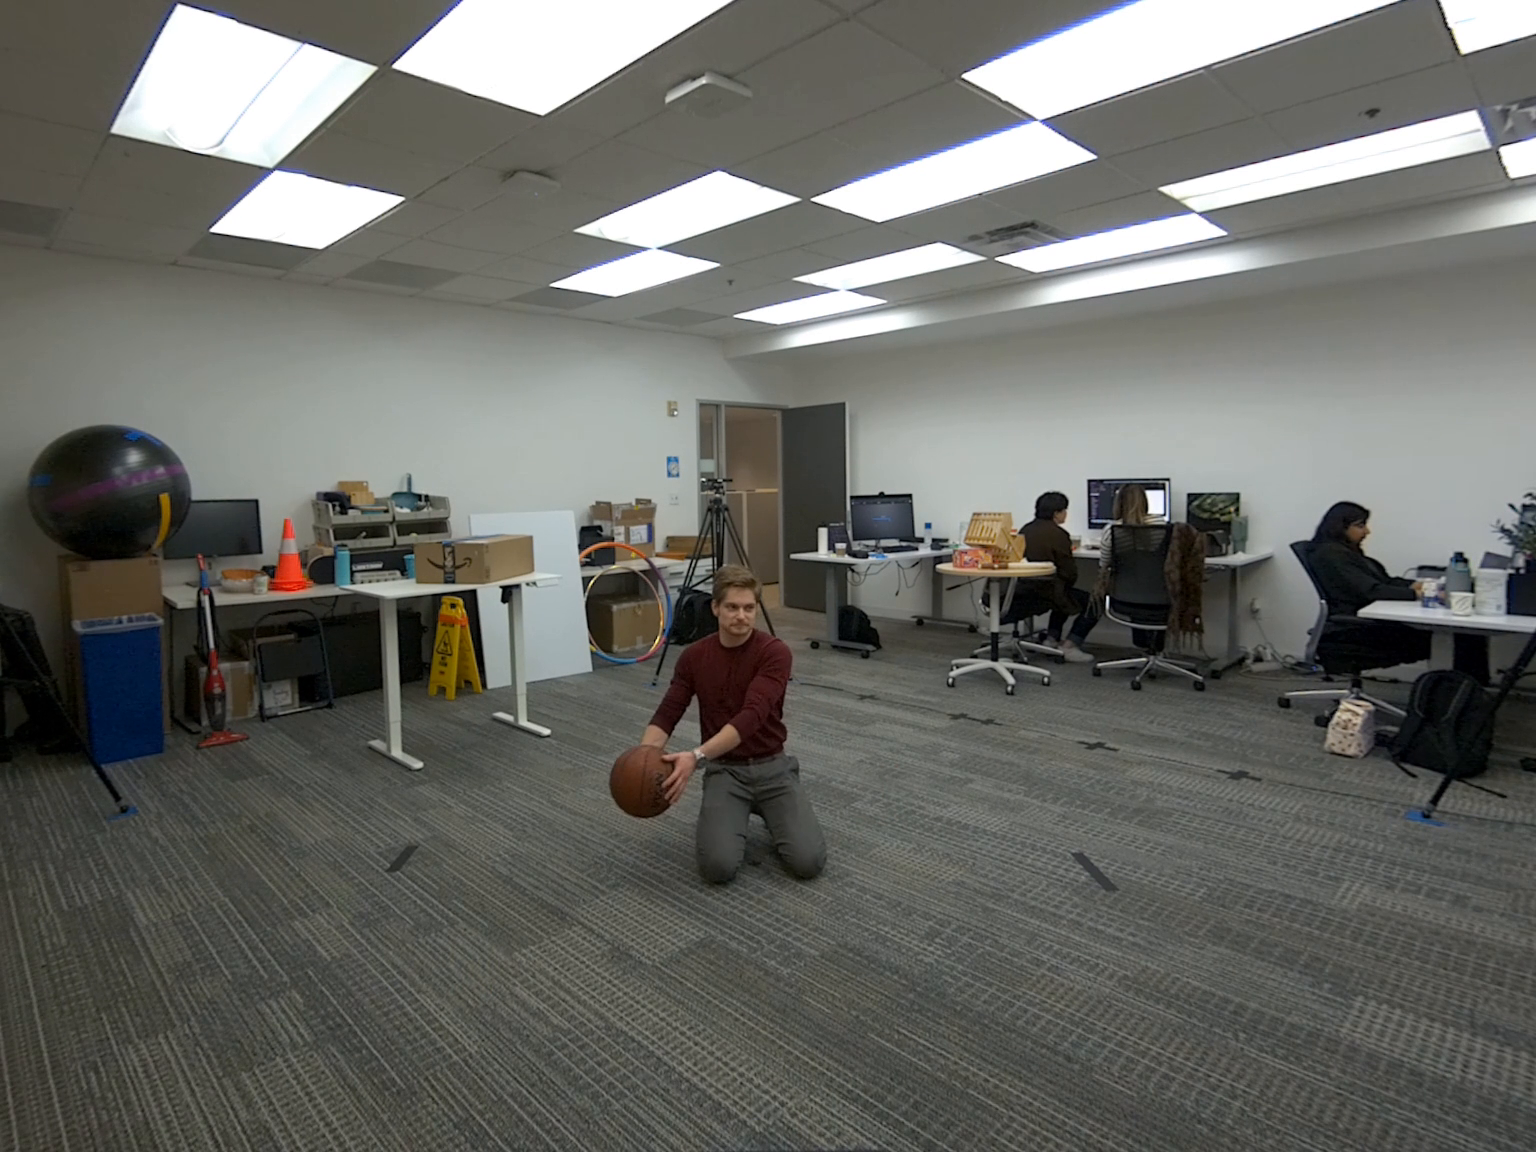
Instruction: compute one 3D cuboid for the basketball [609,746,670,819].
[{"bbox_3d":[-0.399,0.696,2.894,0.236,0.235,0.237,-1,5,-2],"label":"basketball"}]
